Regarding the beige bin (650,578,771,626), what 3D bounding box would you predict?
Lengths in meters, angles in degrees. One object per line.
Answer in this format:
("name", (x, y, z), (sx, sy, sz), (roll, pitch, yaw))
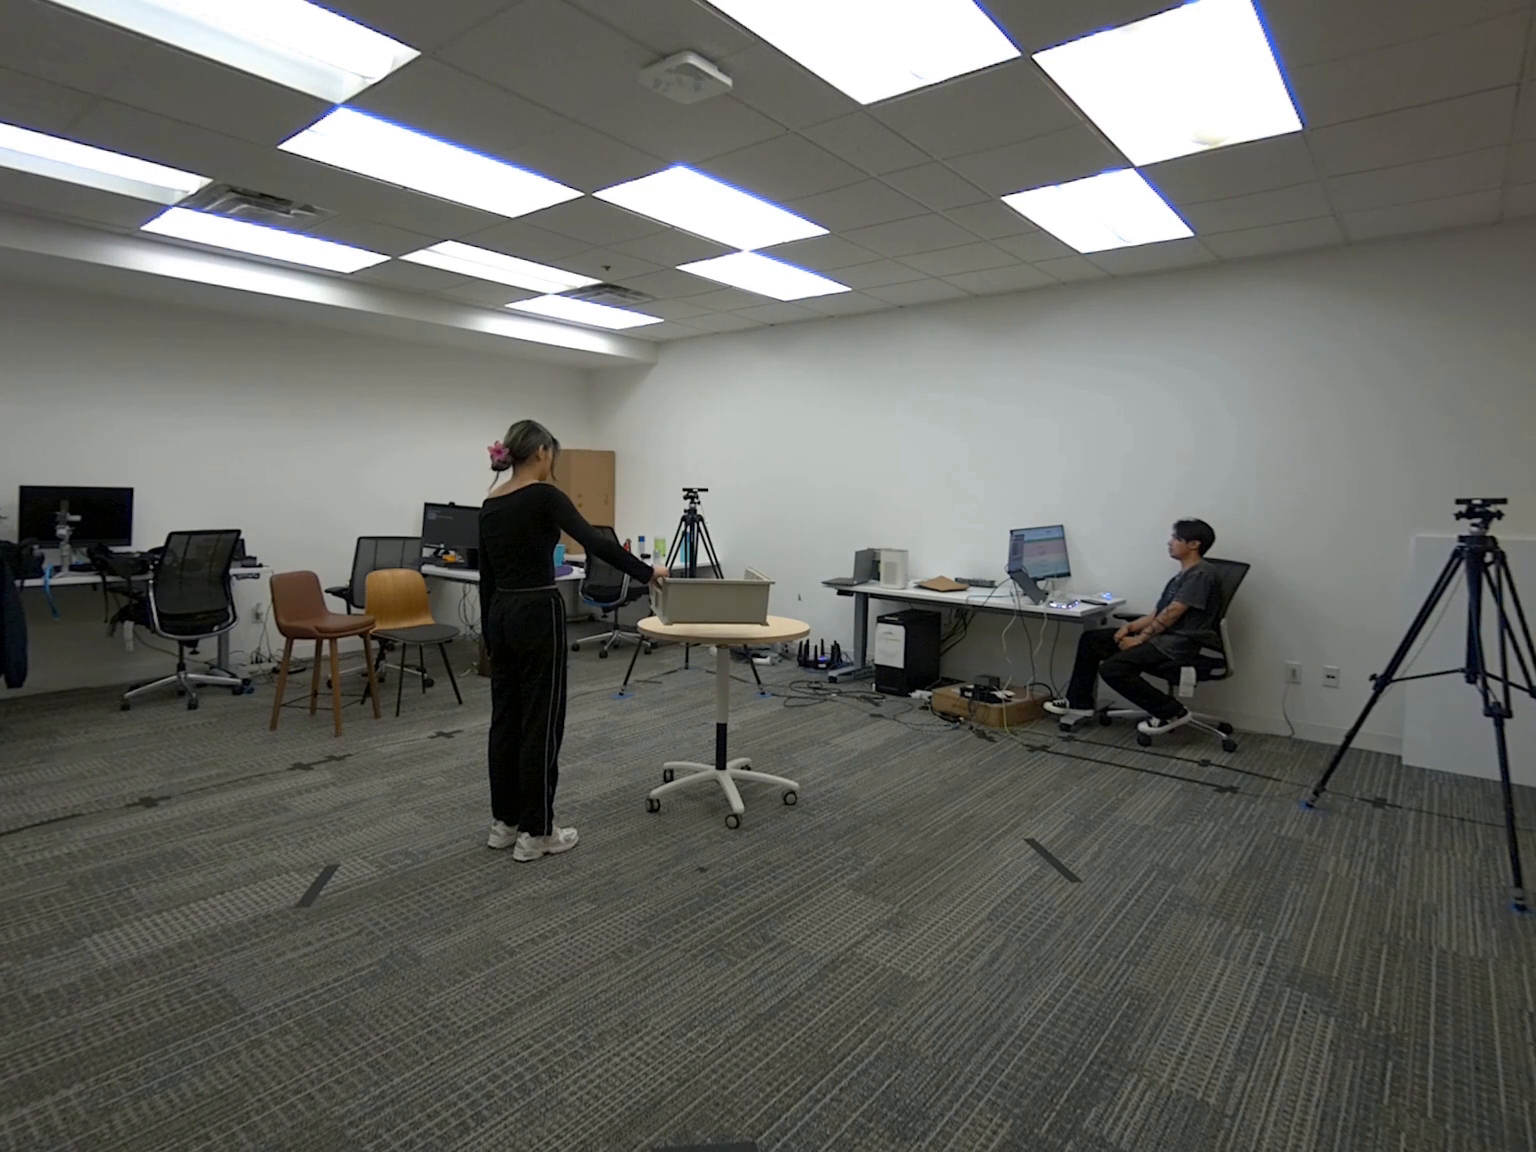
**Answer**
("beige bin", (-0.245, 0.067, 3.374), (0.416, 0.187, 0.386), (2, 10, -14))
